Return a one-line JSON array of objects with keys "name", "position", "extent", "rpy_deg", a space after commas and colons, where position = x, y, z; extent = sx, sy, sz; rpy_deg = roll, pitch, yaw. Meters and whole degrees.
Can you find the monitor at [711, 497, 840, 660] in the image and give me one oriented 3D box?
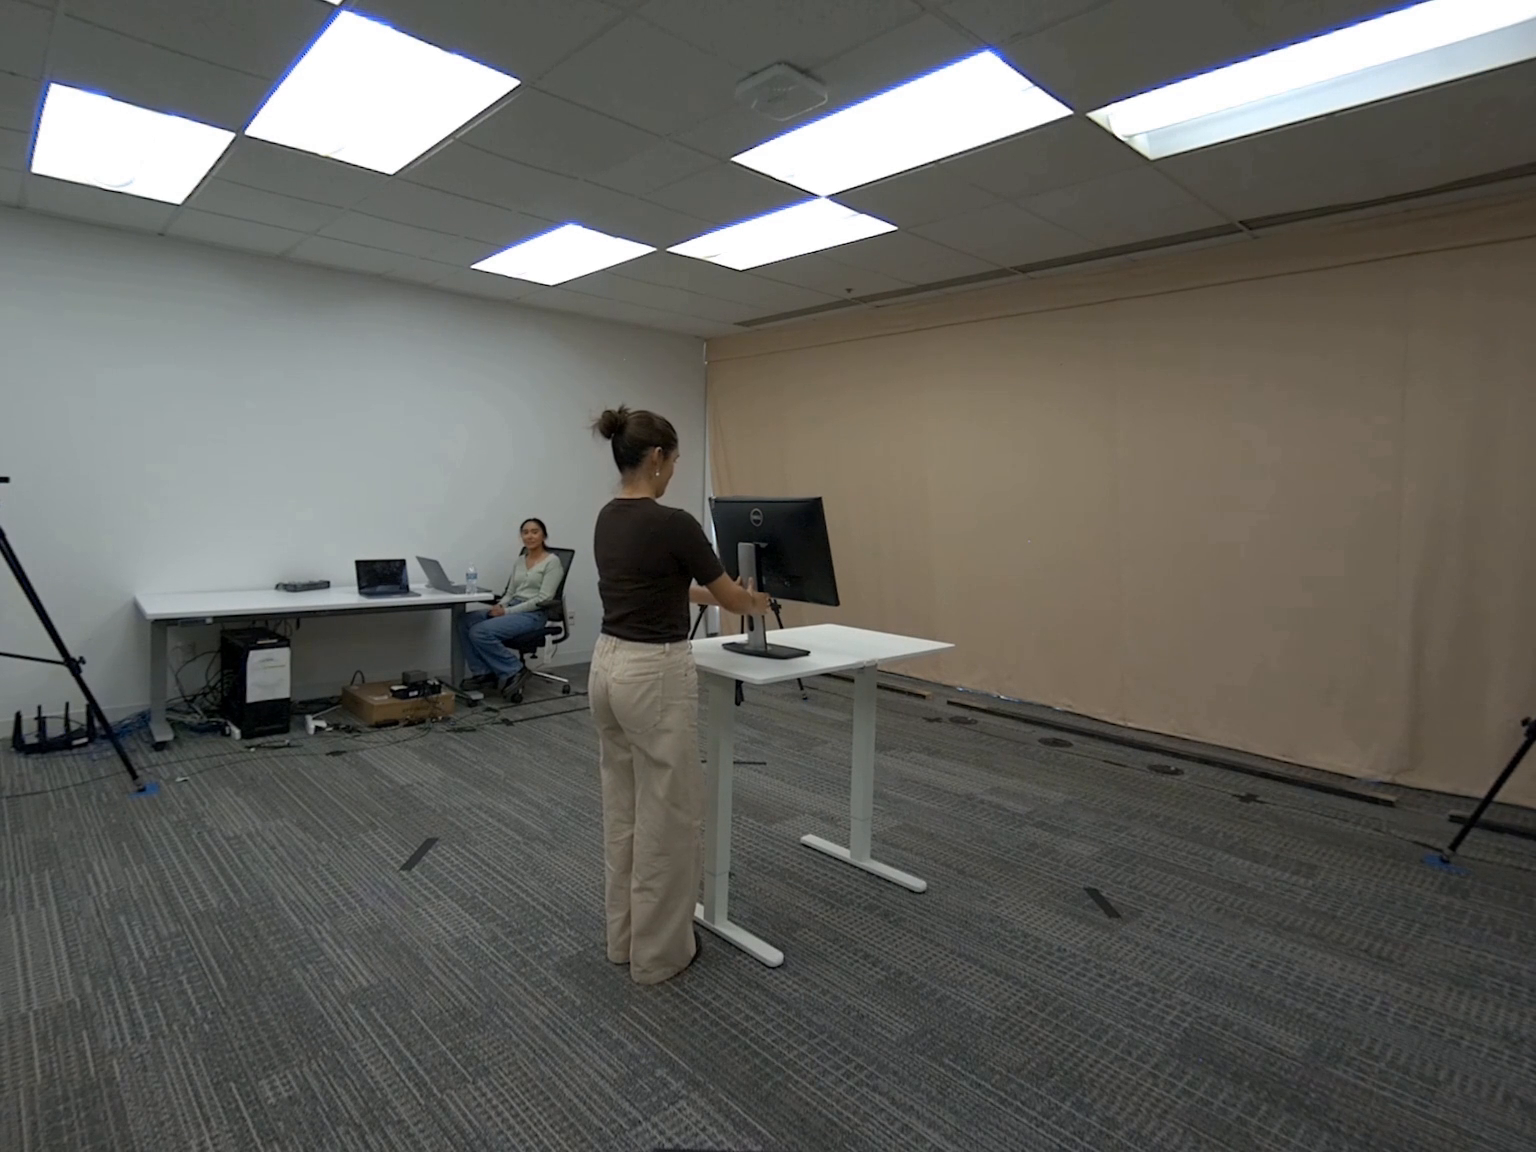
[{"name": "monitor", "position": [-0.013, 0.002, 2.765], "extent": [0.183, 0.521, 0.553], "rpy_deg": [-4, 6, -43]}]
